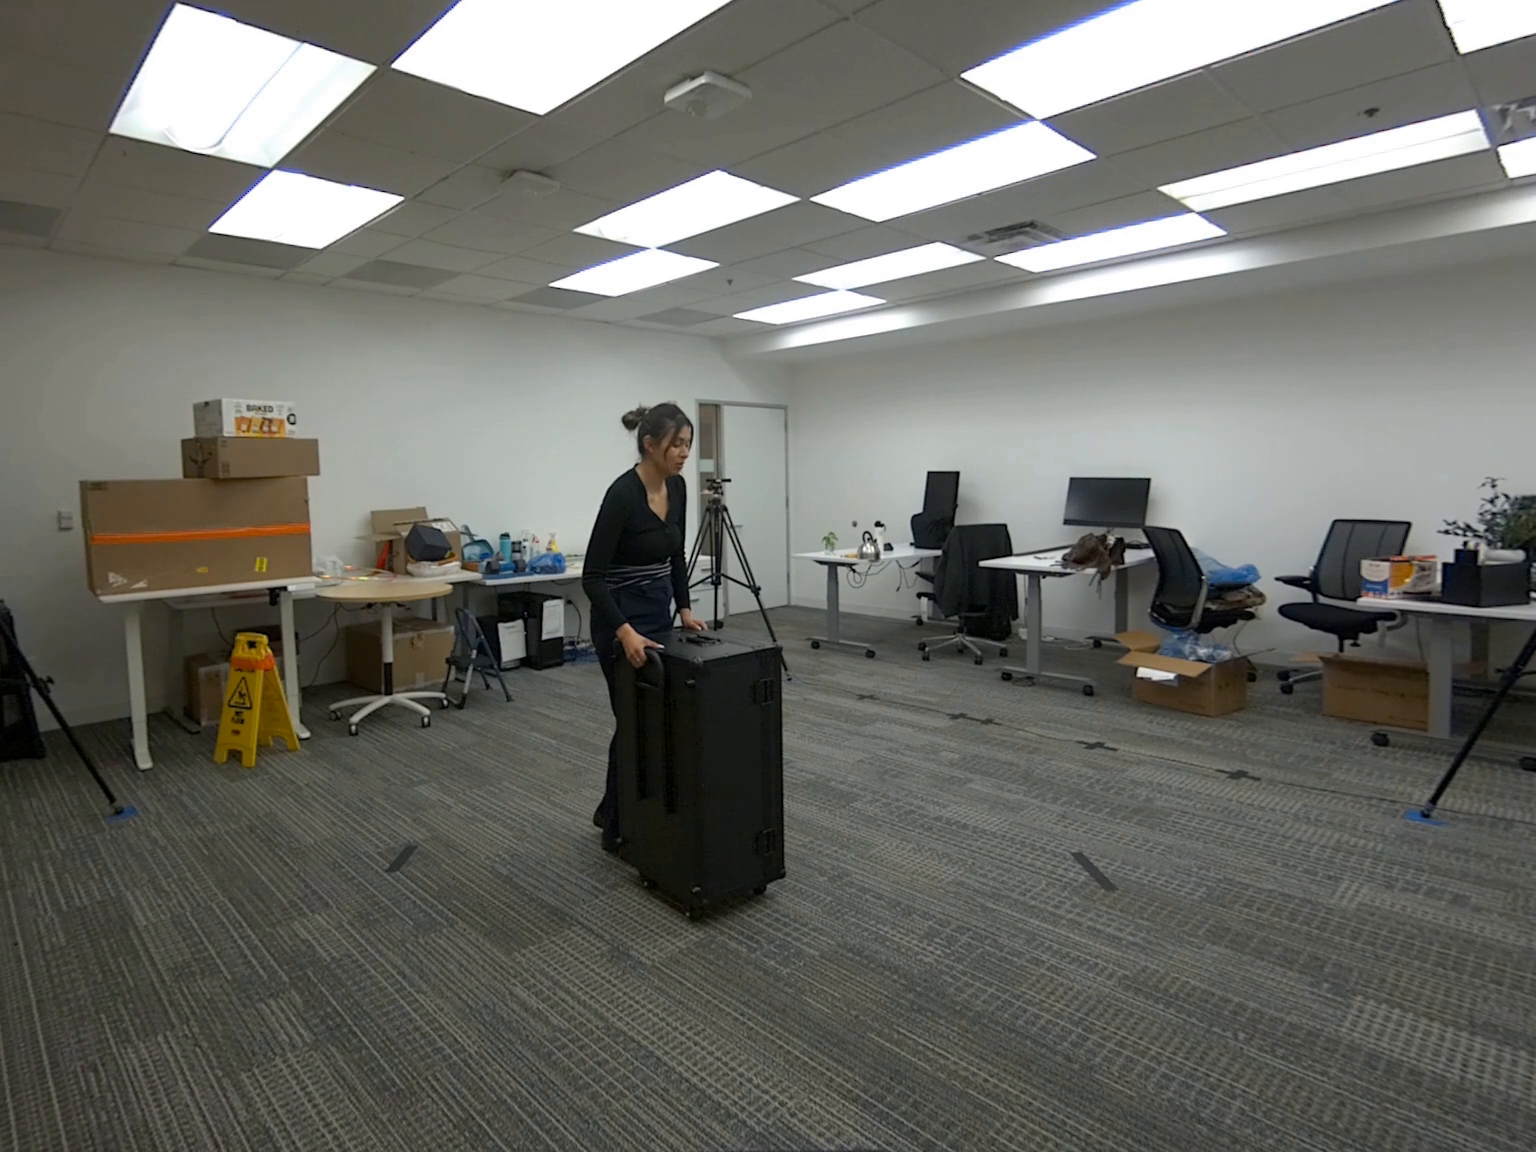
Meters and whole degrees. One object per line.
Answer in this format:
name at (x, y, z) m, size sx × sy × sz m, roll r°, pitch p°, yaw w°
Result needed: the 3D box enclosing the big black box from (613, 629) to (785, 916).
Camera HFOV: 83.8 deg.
big black box at (-0.219, 0.594, 2.878) m, size 0.386 × 0.857 × 0.537 m, roll -6°, pitch 7°, yaw -41°
